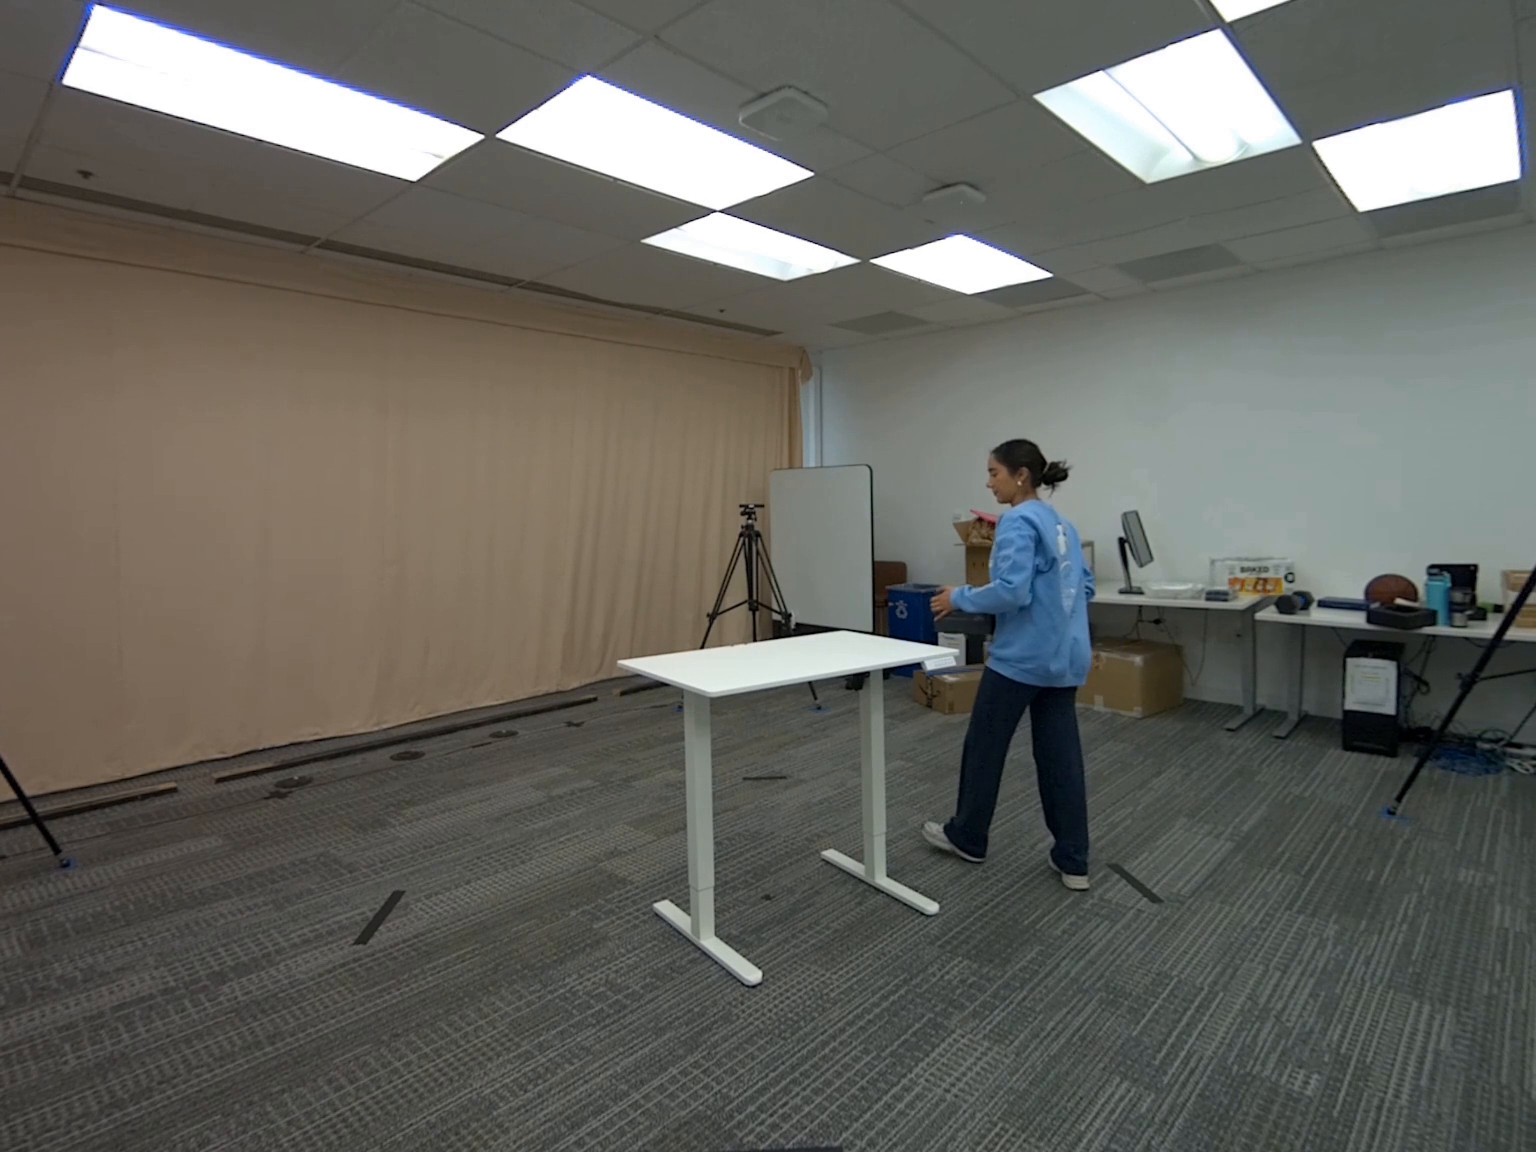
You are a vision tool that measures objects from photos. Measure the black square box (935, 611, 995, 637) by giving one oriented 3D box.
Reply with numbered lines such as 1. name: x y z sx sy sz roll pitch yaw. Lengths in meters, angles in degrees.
1. black square box: 0.786 0.140 3.255 0.223 0.156 0.221 0 -1 31
